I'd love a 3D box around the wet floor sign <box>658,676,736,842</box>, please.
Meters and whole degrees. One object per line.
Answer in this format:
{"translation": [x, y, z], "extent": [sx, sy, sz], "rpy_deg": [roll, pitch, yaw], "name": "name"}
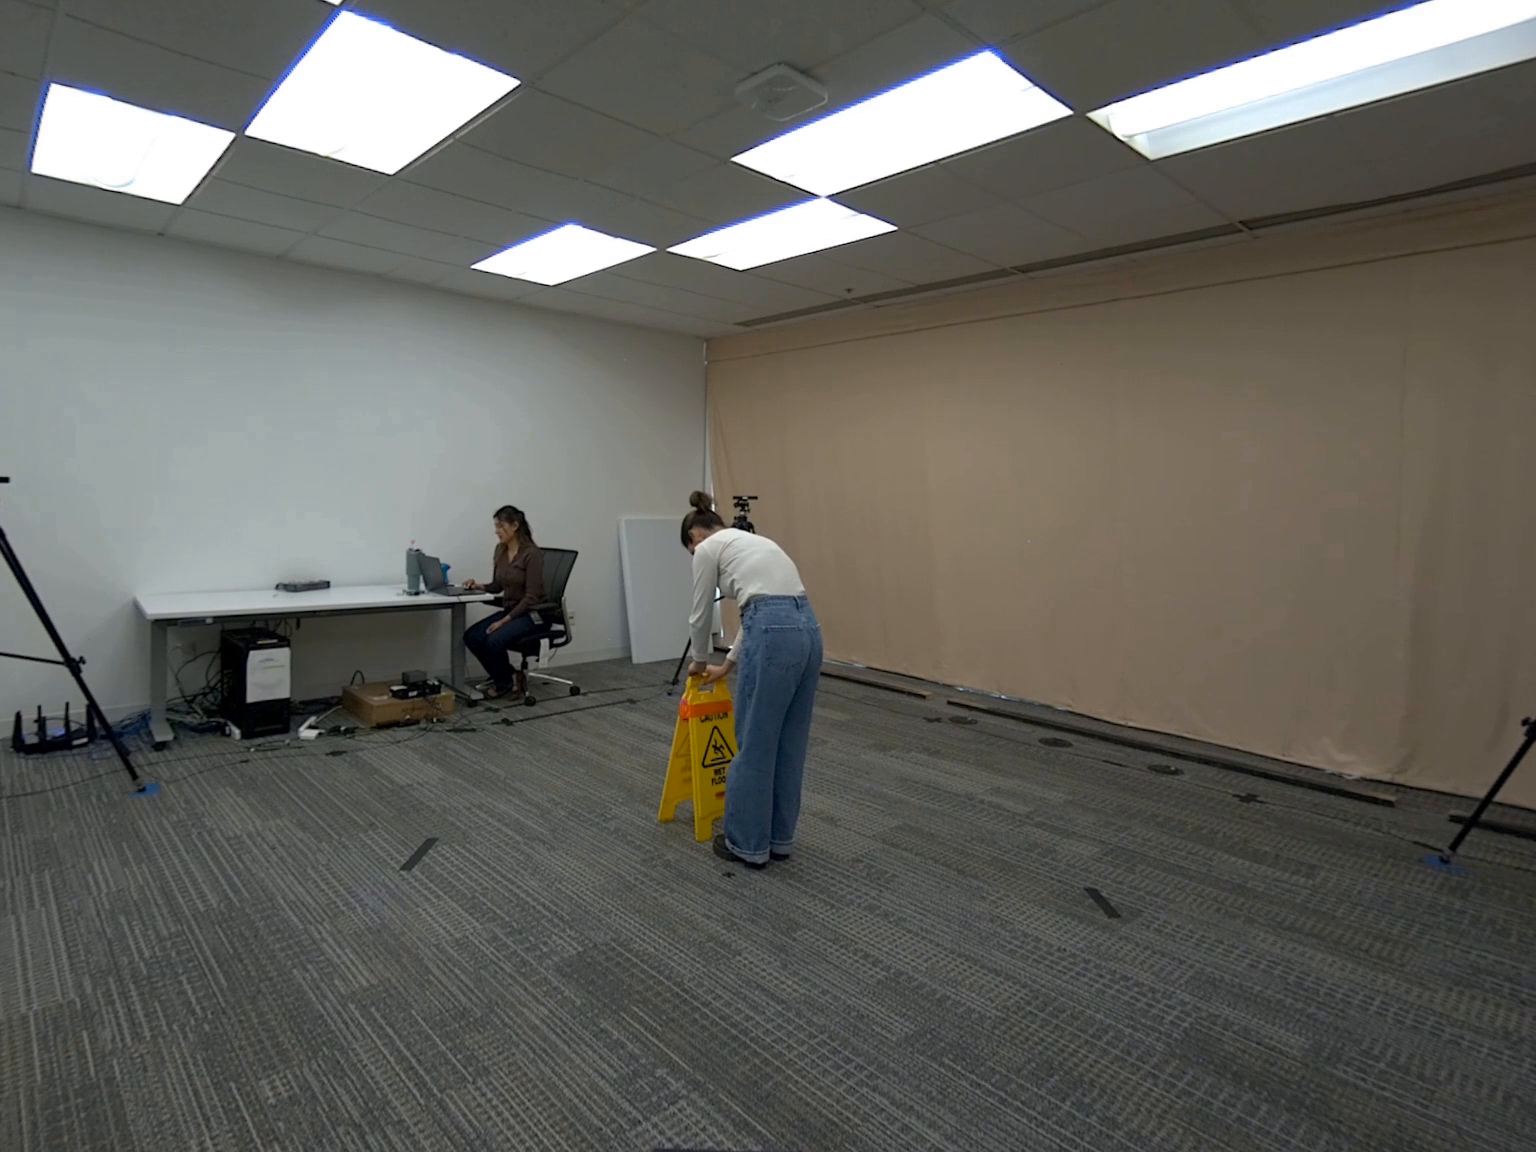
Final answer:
{"translation": [-0.279, 0.735, 3.568], "extent": [0.275, 0.645, 0.297], "rpy_deg": [0, 3, -42], "name": "wet floor sign"}
